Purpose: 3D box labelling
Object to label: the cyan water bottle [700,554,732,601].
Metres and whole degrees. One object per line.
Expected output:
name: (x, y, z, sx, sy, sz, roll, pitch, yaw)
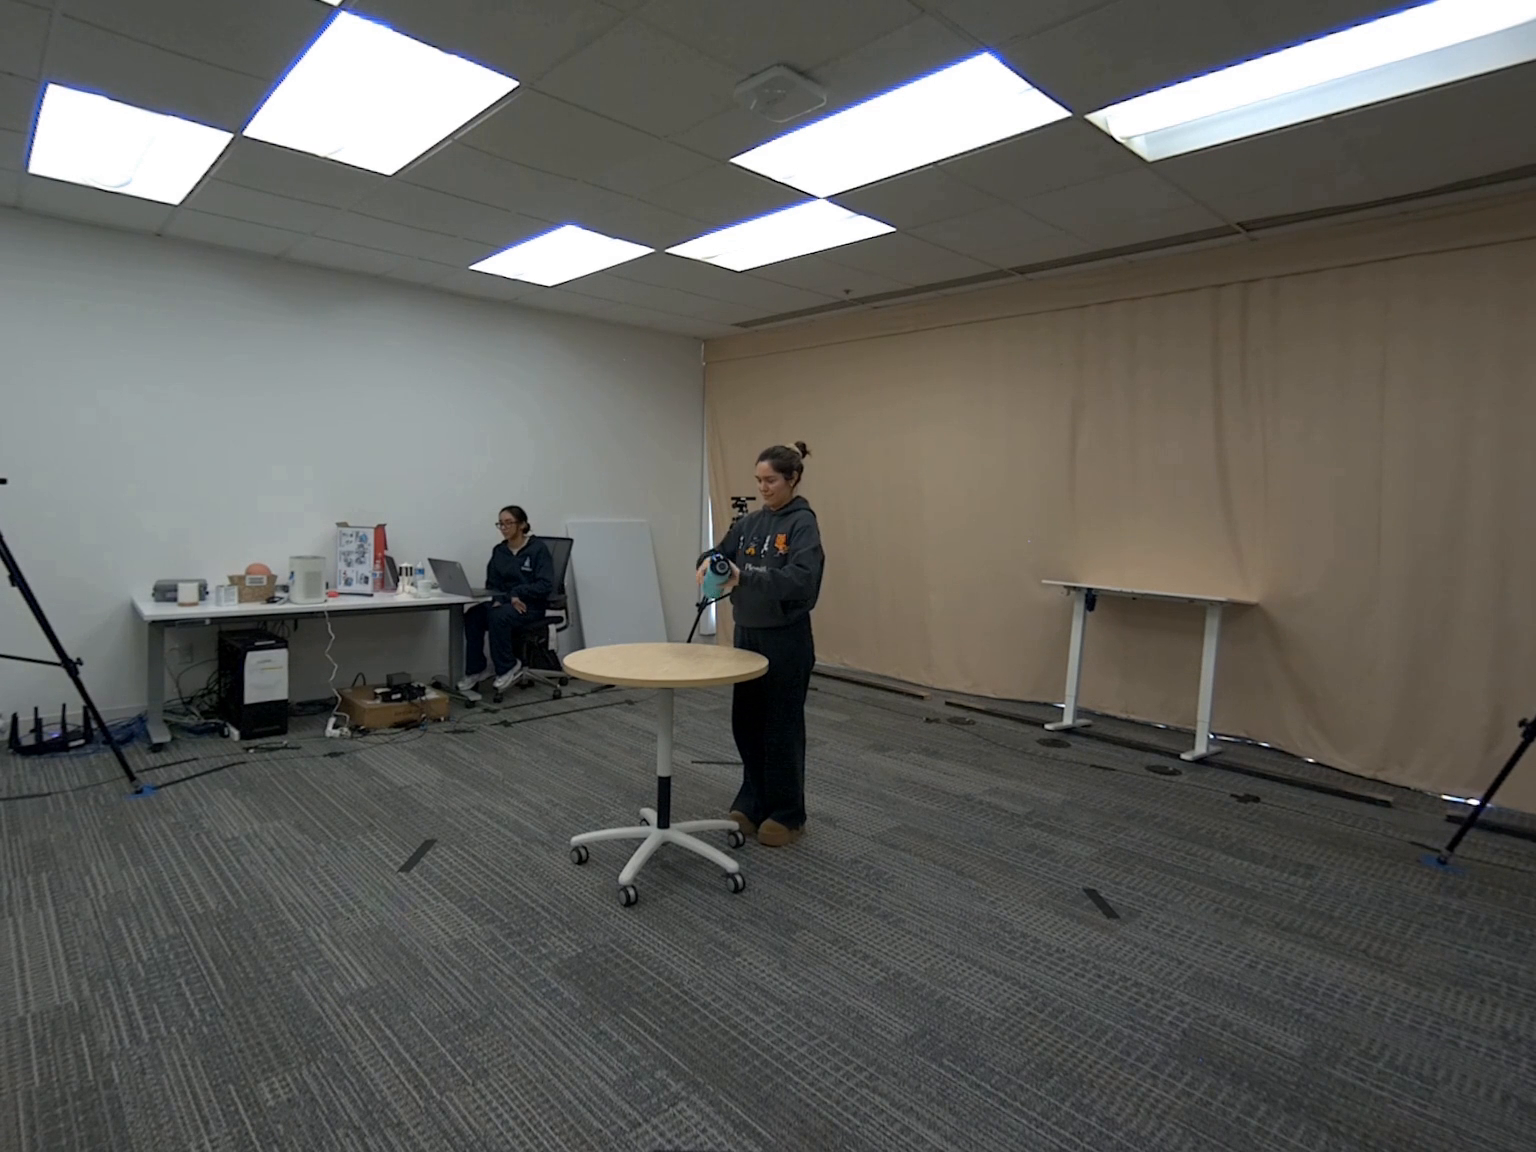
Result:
cyan water bottle: (-0.211, 0.002, 3.294, 0.092, 0.094, 0.280, 1, -23, -8)
